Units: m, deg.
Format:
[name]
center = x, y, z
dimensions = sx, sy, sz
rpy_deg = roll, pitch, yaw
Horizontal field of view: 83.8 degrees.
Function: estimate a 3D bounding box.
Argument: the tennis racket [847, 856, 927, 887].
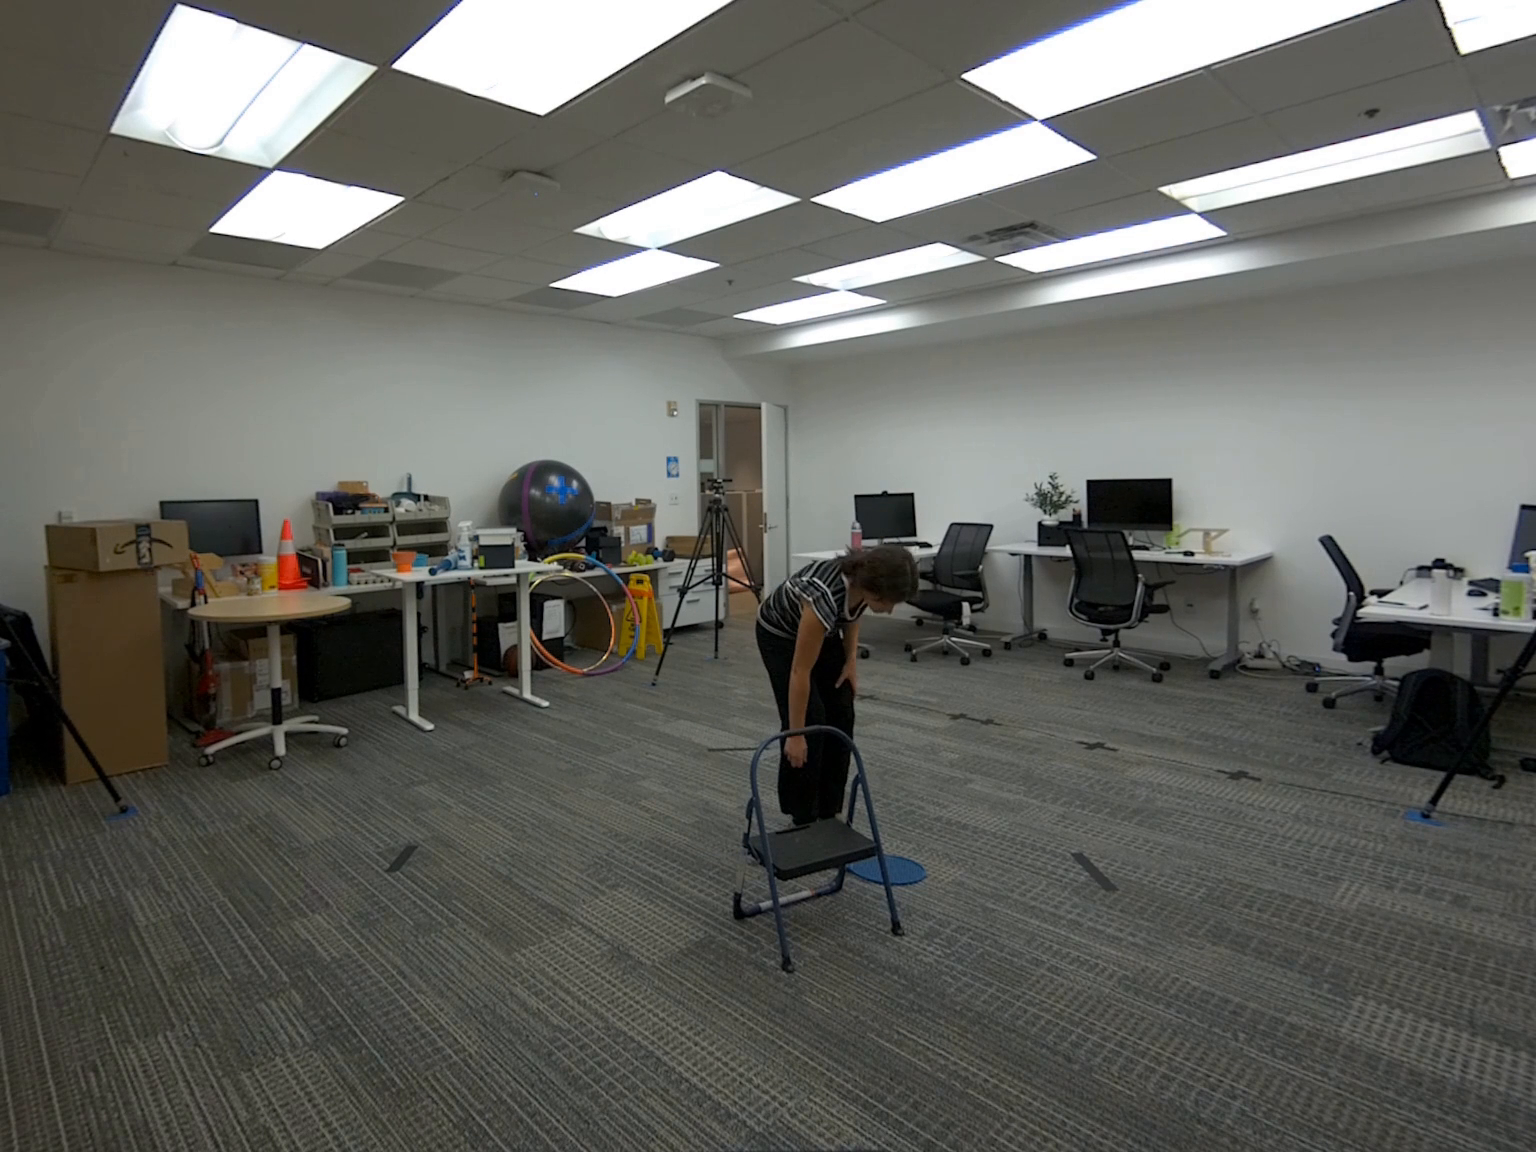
[tennis racket]
center = 0.335, 1.025, 3.043
dimensions = 0.439, 0.031, 0.211
rpy_deg = 3, 6, 14
